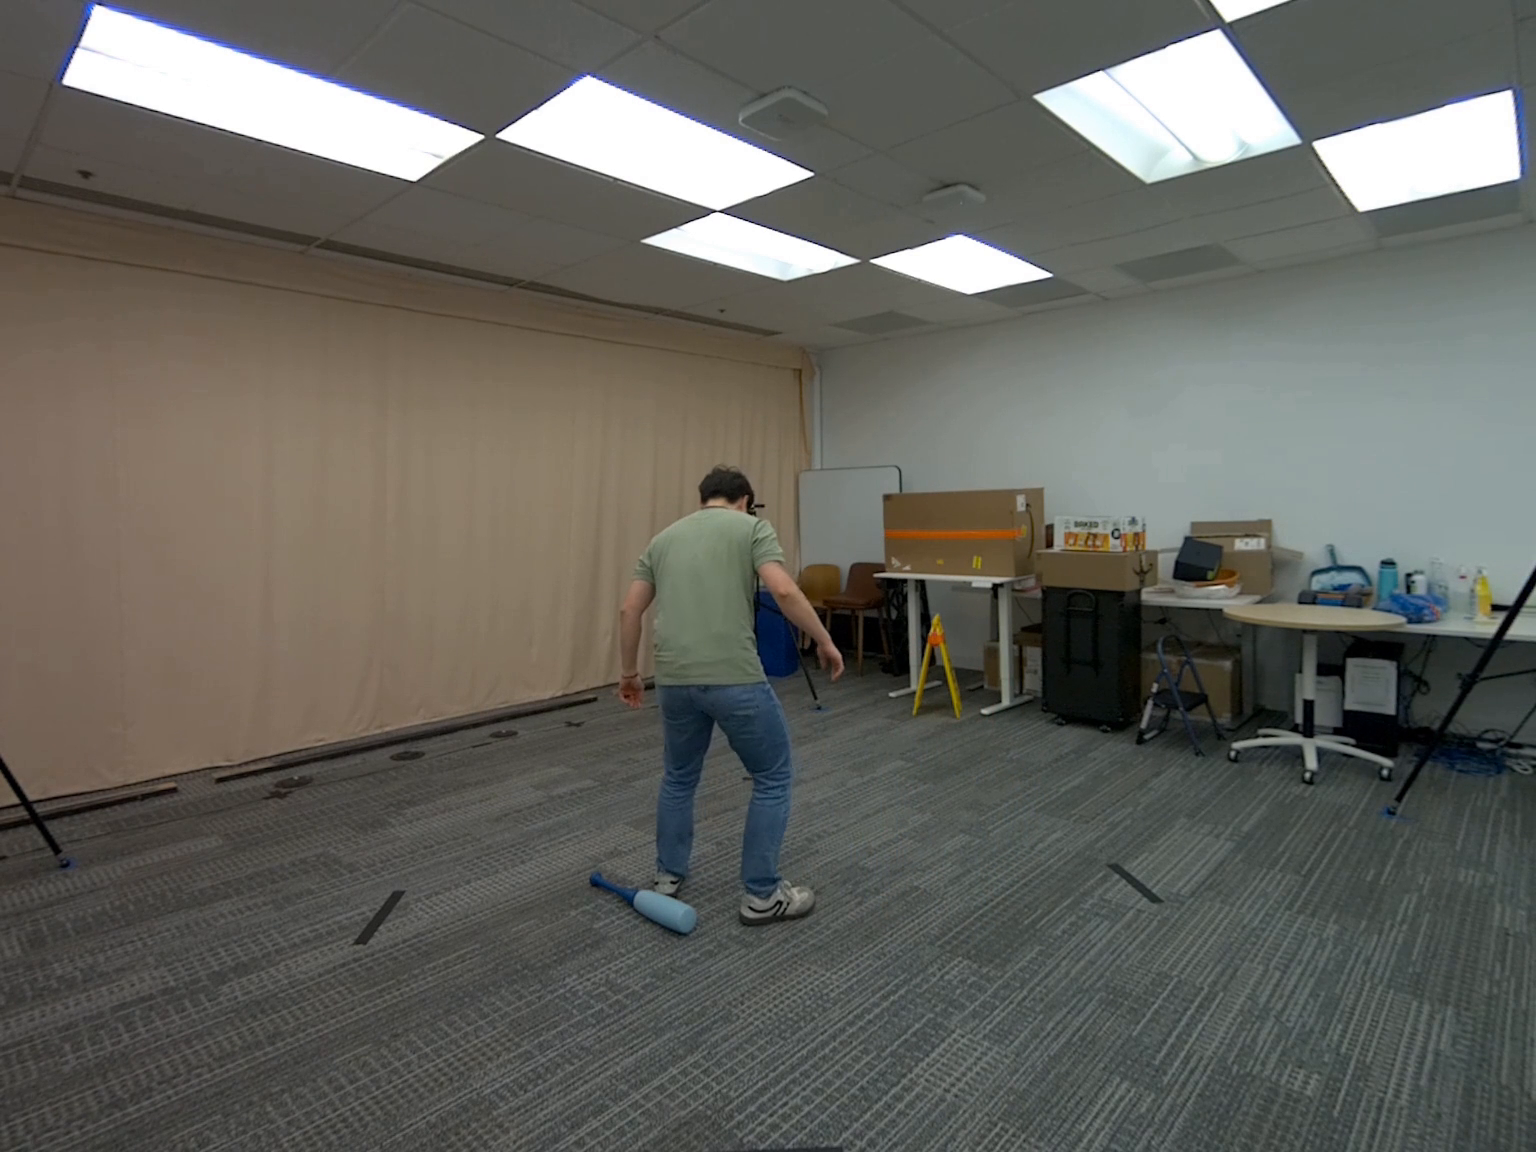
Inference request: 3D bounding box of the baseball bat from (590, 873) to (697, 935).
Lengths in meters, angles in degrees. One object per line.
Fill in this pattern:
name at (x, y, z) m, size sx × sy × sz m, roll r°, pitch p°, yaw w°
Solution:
baseball bat at (-0.445, 1.117, 2.914) m, size 0.560 × 0.089 × 0.086 m, roll -2°, pitch 2°, yaw 45°
